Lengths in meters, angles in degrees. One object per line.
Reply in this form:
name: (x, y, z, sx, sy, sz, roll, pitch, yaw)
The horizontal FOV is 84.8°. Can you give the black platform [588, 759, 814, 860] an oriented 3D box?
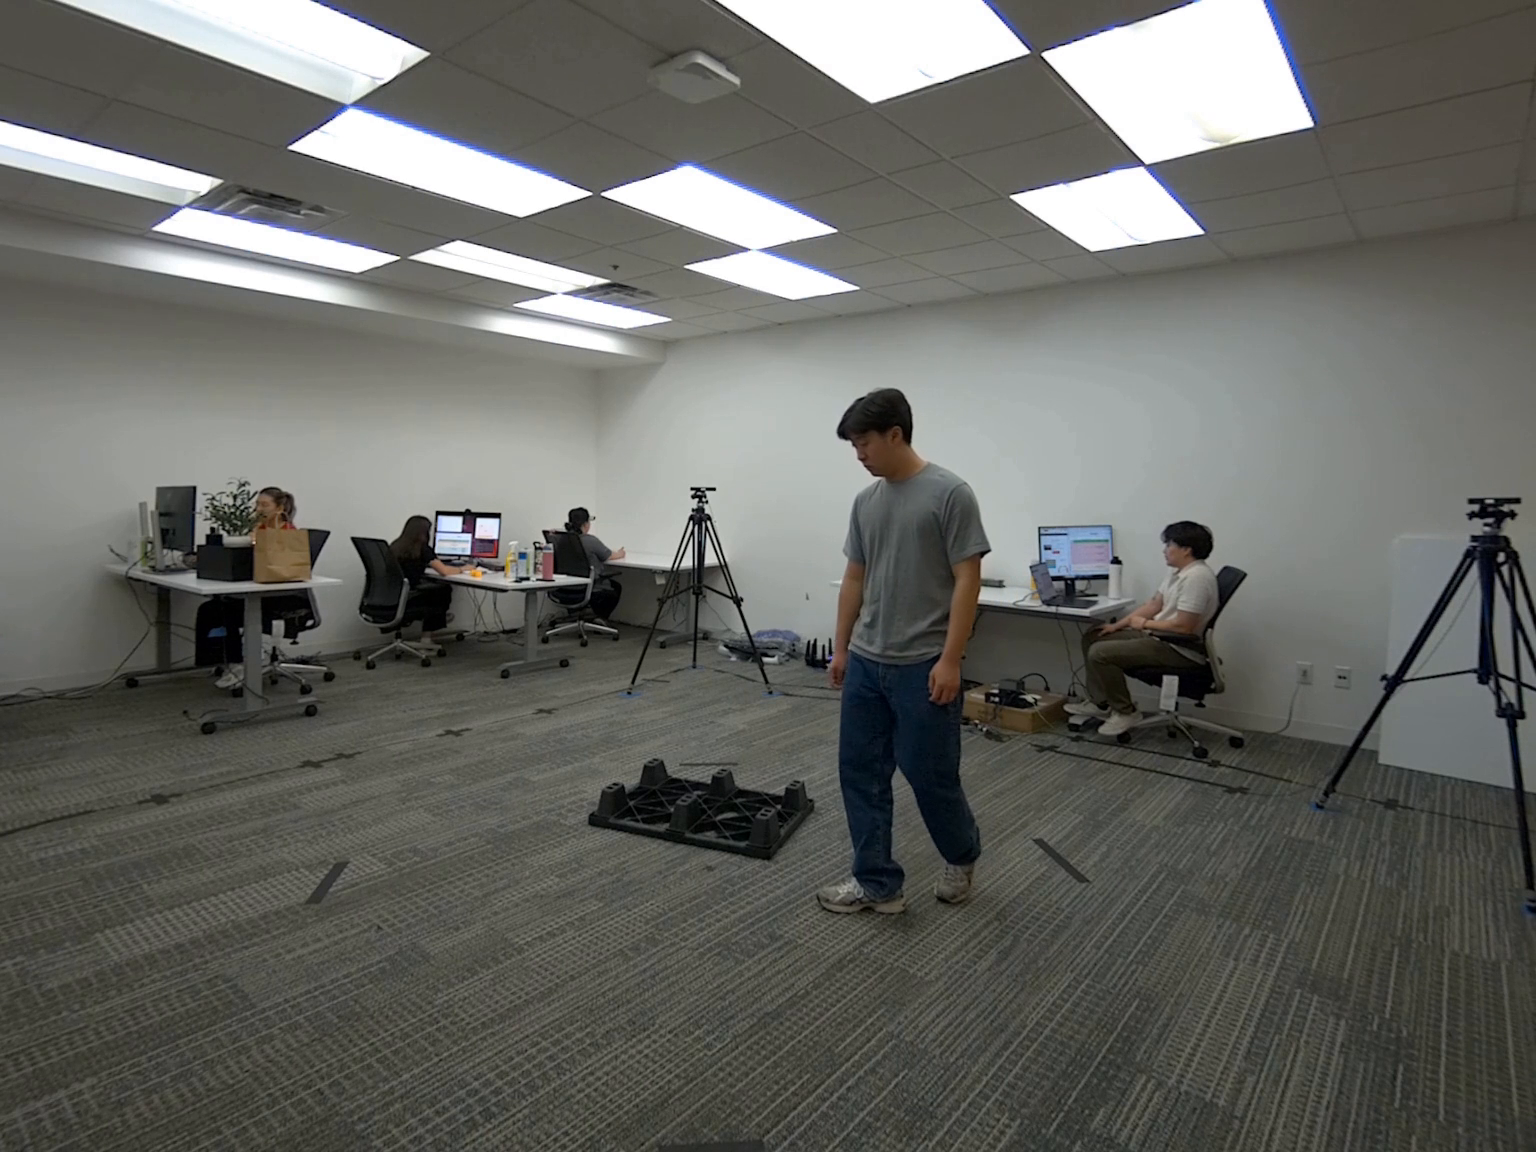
black platform: (-0.274, 0.949, 3.605, 0.824, 0.143, 0.594, 4, 6, 21)
